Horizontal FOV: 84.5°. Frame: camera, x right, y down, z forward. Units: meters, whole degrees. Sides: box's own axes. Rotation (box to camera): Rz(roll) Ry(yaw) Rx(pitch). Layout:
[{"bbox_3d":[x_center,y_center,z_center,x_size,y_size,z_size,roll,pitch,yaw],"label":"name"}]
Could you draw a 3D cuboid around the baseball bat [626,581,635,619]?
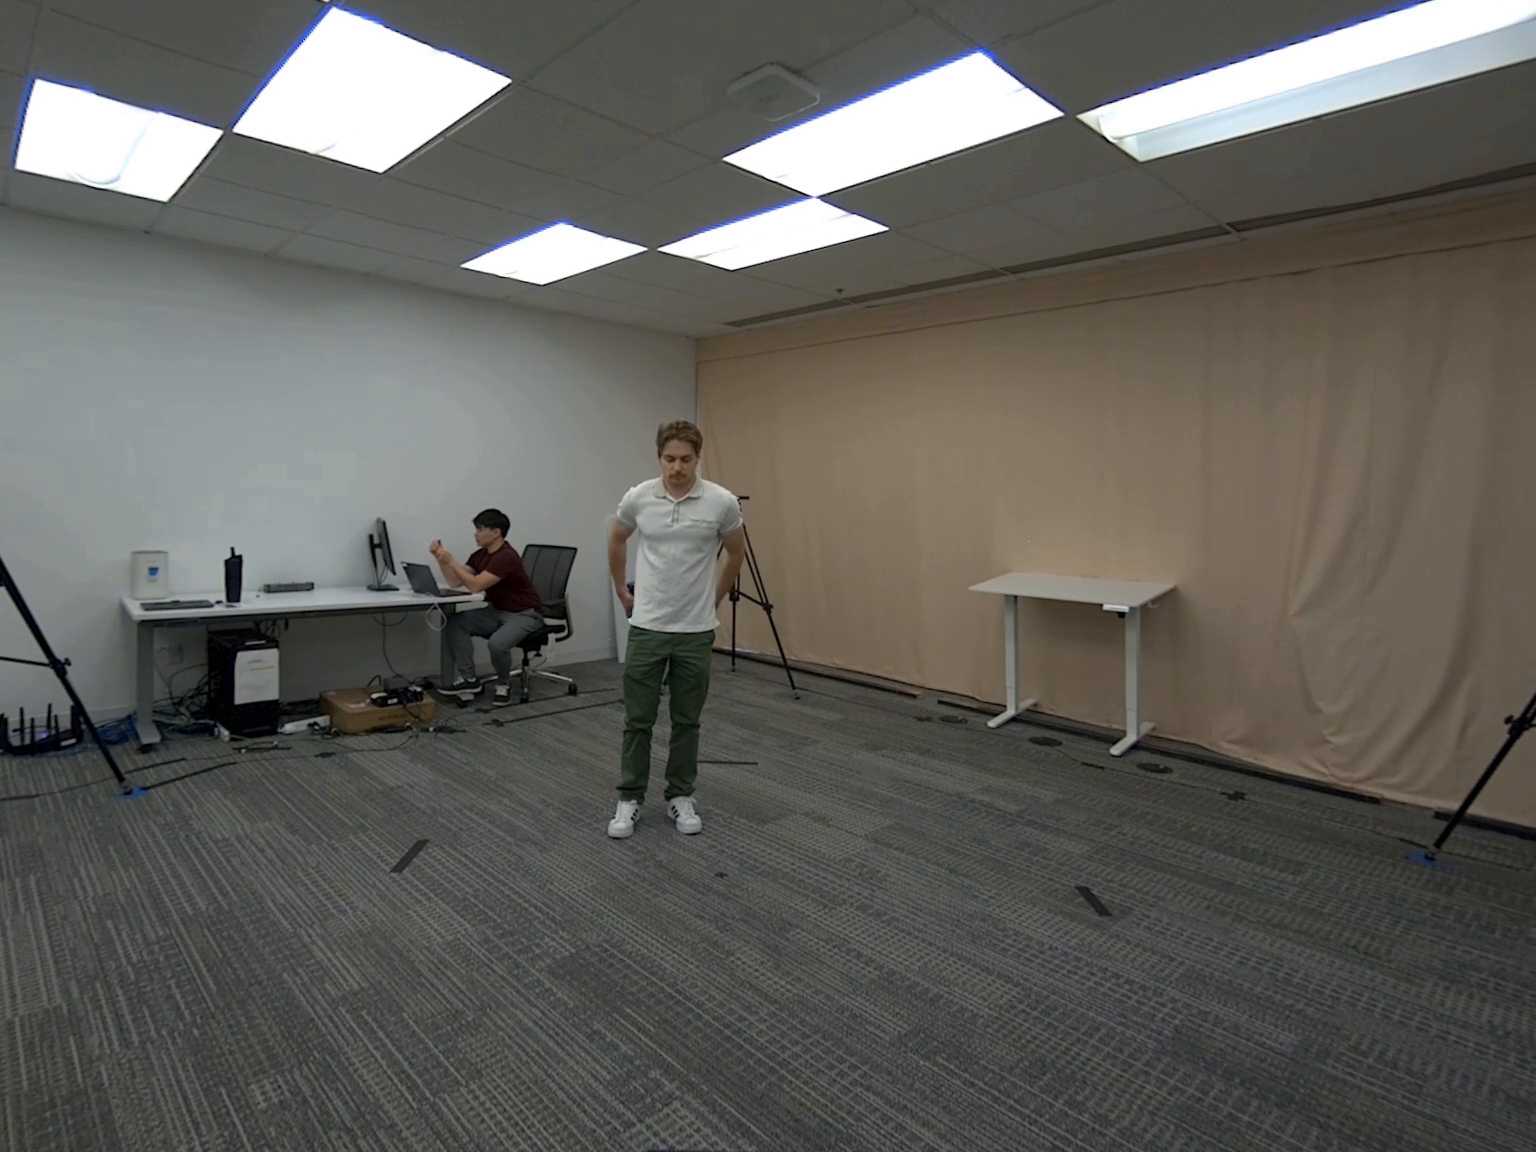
[{"bbox_3d":[-0.607,0.295,3.850,0.089,0.537,0.090,1,16,-2],"label":"baseball bat"}]
